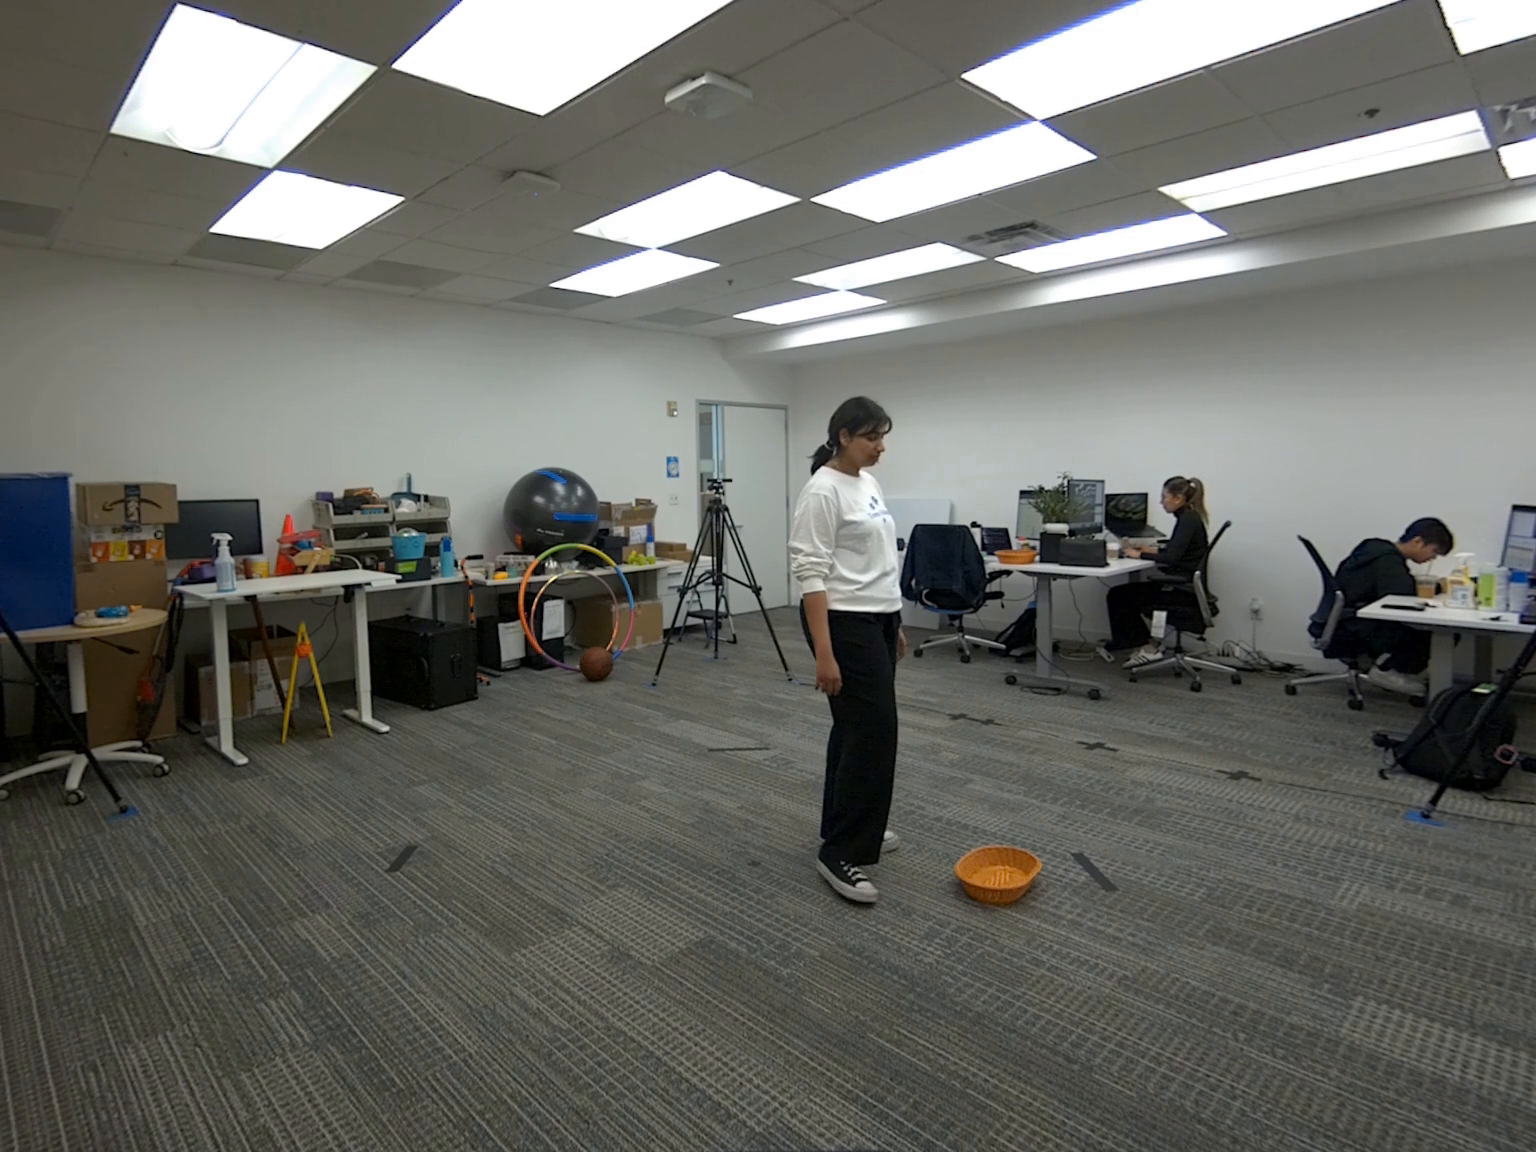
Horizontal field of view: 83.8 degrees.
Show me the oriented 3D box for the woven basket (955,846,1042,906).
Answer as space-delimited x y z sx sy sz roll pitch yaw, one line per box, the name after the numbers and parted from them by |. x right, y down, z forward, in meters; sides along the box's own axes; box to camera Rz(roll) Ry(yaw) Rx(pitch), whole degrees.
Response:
0.776 1.011 2.908 0.260 0.073 0.341 4 8 43 | woven basket
